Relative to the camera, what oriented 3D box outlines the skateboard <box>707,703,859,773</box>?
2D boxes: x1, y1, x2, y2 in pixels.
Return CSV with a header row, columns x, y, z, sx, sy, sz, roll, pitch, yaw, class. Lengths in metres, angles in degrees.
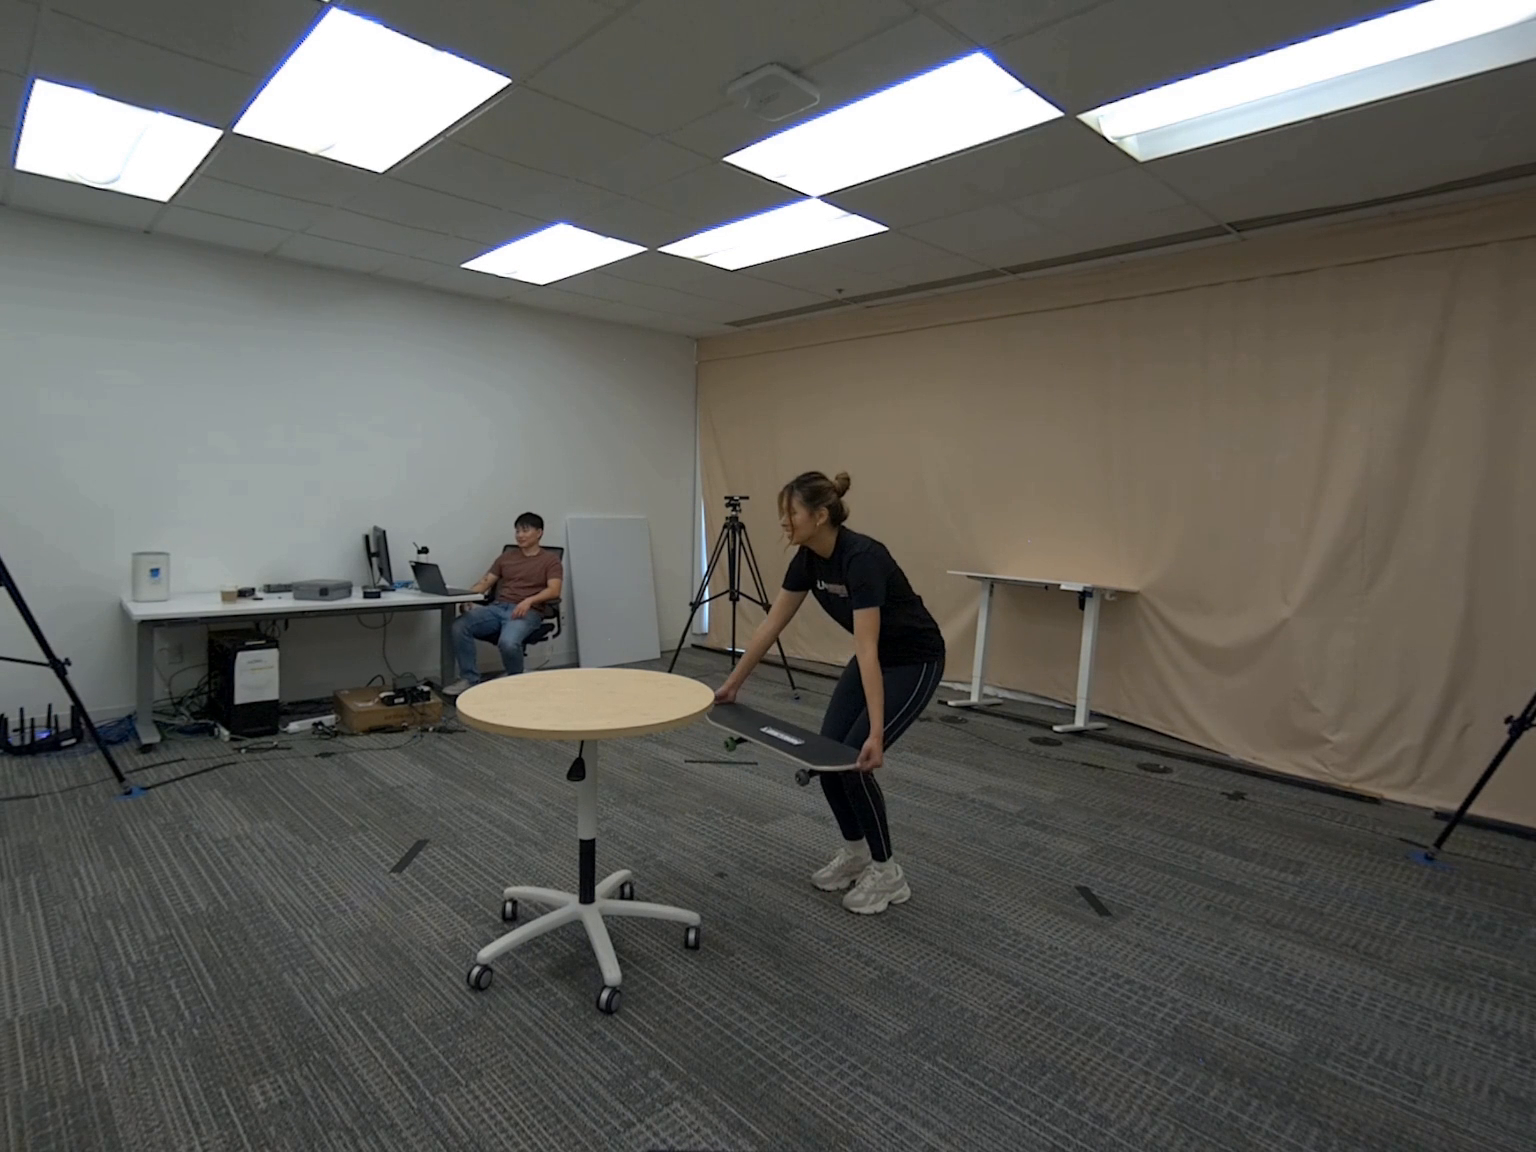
x,y,z,sx,sy,sz,roll,pitch,yaw,class
0.038,0.568,2.776,0.190,0.109,0.805,-9,11,-35,skateboard
